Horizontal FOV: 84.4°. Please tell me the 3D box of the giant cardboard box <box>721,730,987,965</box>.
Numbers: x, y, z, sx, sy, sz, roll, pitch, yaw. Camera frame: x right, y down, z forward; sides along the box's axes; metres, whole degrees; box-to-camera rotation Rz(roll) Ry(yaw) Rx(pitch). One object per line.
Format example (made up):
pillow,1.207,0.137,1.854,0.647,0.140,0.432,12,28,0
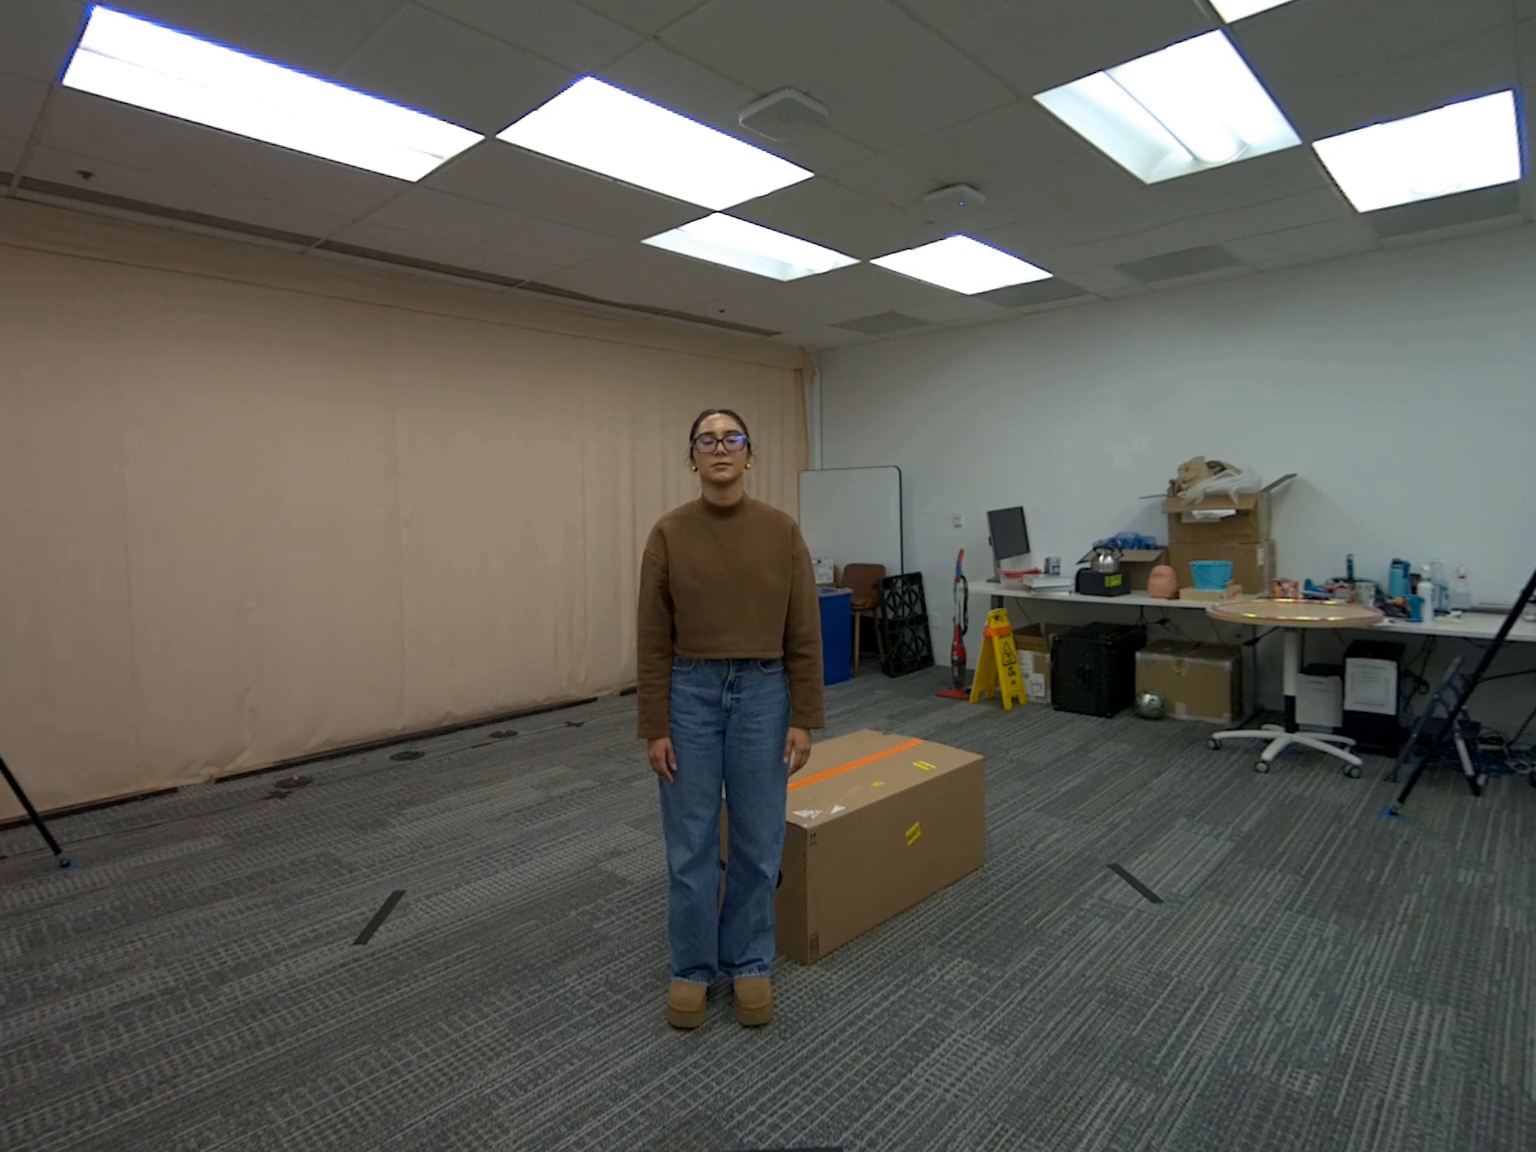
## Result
giant cardboard box,0.272,0.917,3.074,0.996,0.446,0.603,-7,6,-44
